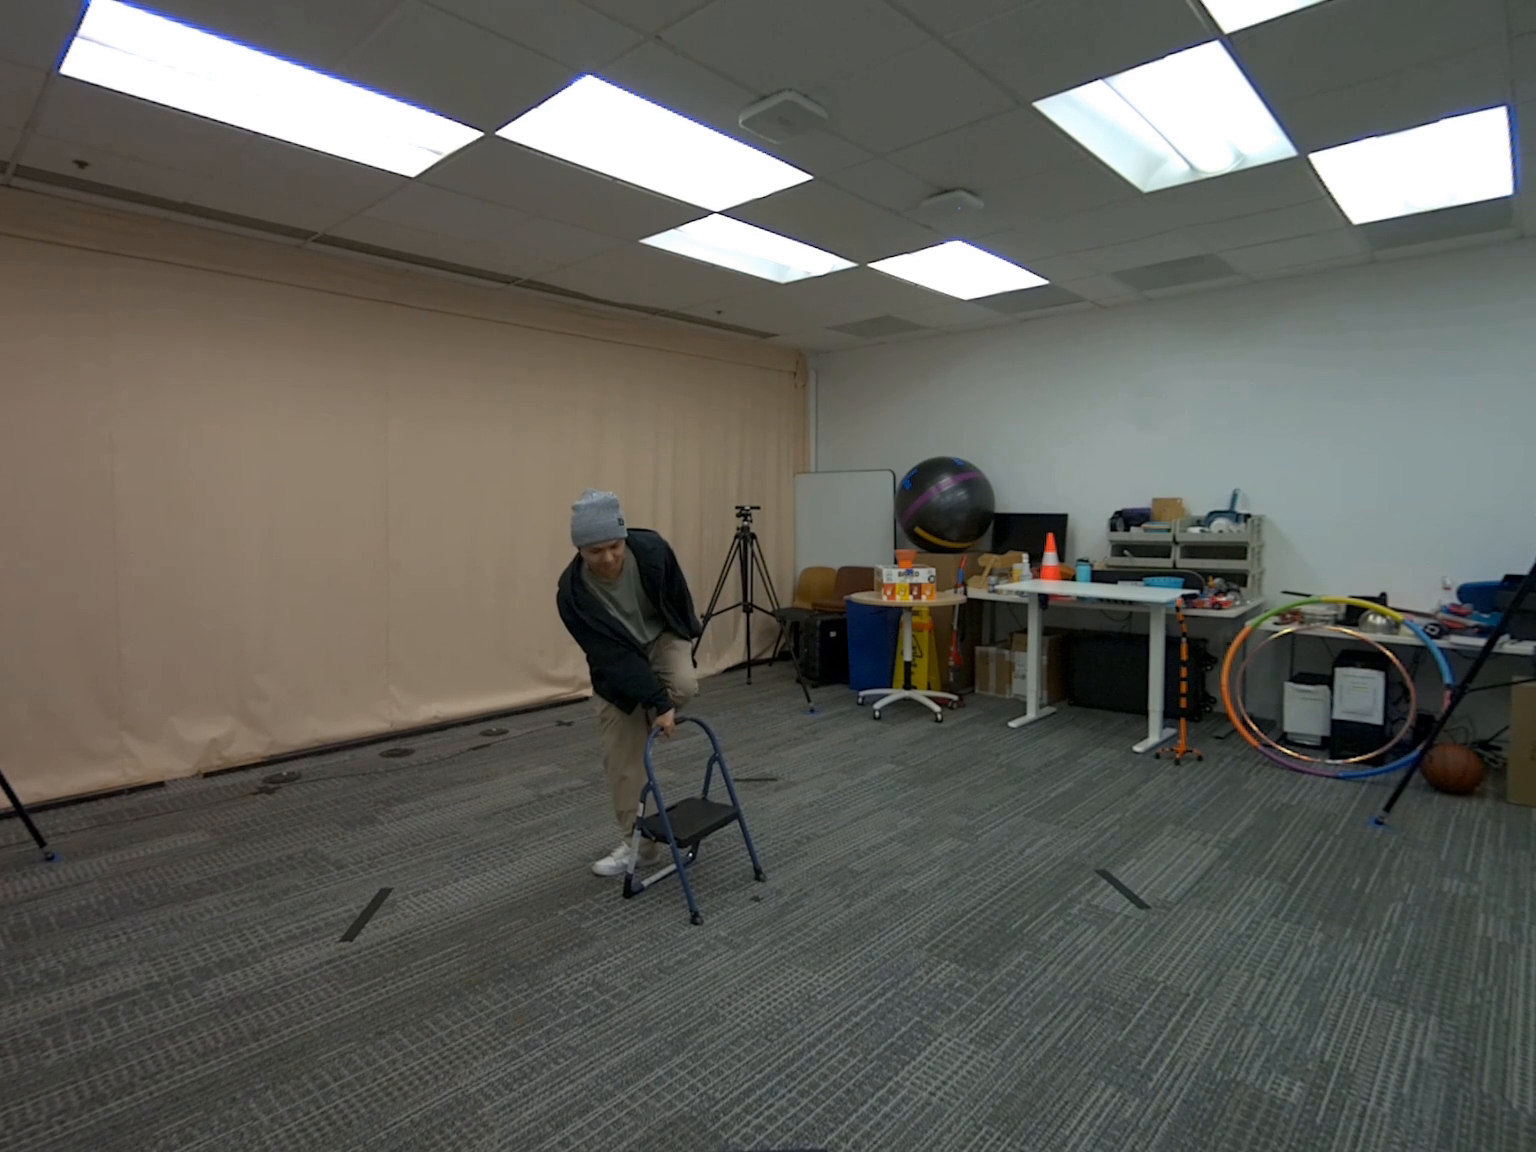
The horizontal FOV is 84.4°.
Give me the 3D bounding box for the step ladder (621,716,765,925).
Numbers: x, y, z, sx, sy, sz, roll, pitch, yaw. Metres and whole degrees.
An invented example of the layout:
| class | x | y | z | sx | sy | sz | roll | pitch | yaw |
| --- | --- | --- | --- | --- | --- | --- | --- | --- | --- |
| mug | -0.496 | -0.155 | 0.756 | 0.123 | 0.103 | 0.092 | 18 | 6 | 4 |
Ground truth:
| class | x | y | z | sx | sy | sz | roll | pitch | yaw |
| --- | --- | --- | --- | --- | --- | --- | --- | --- | --- |
| step ladder | -0.268 | 0.835 | 3.051 | 0.360 | 0.605 | 0.418 | 1 | 3 | 33 |
